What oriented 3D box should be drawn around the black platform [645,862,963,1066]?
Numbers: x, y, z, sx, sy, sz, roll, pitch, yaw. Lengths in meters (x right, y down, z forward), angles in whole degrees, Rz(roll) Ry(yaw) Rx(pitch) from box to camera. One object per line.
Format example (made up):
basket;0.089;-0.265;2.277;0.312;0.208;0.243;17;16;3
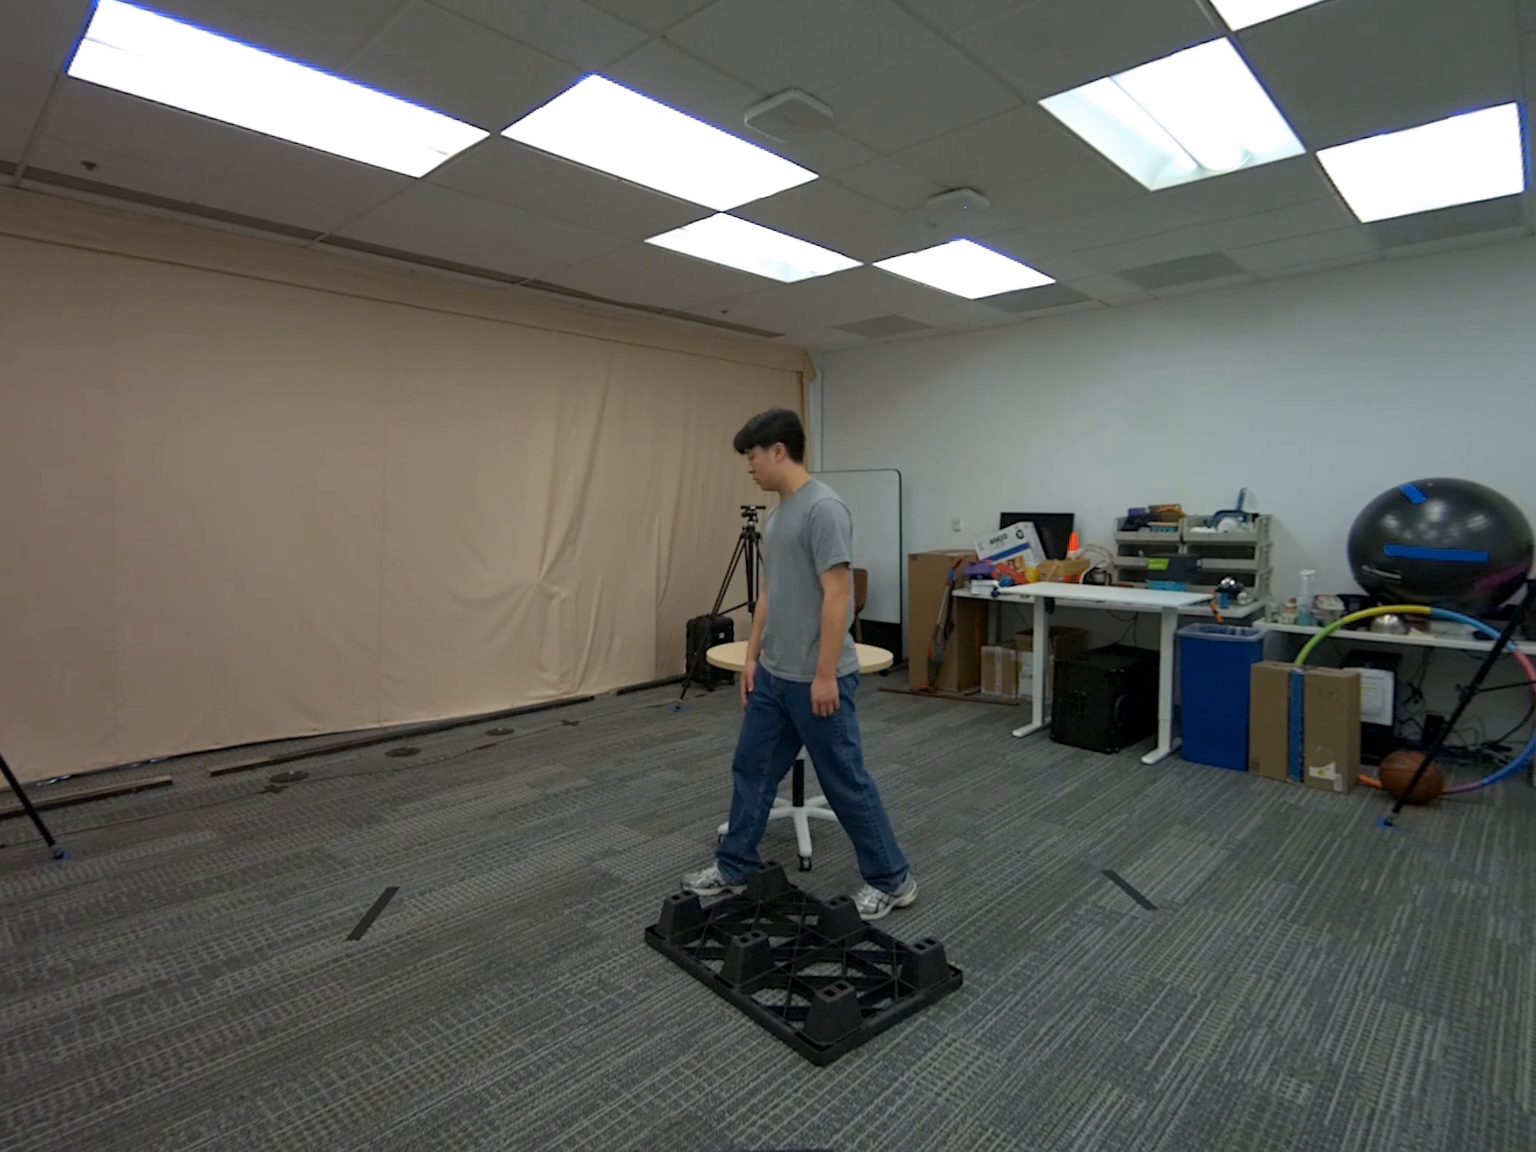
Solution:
black platform;0.089;1.117;2.563;0.587;0.143;0.832;-5;7;-40
